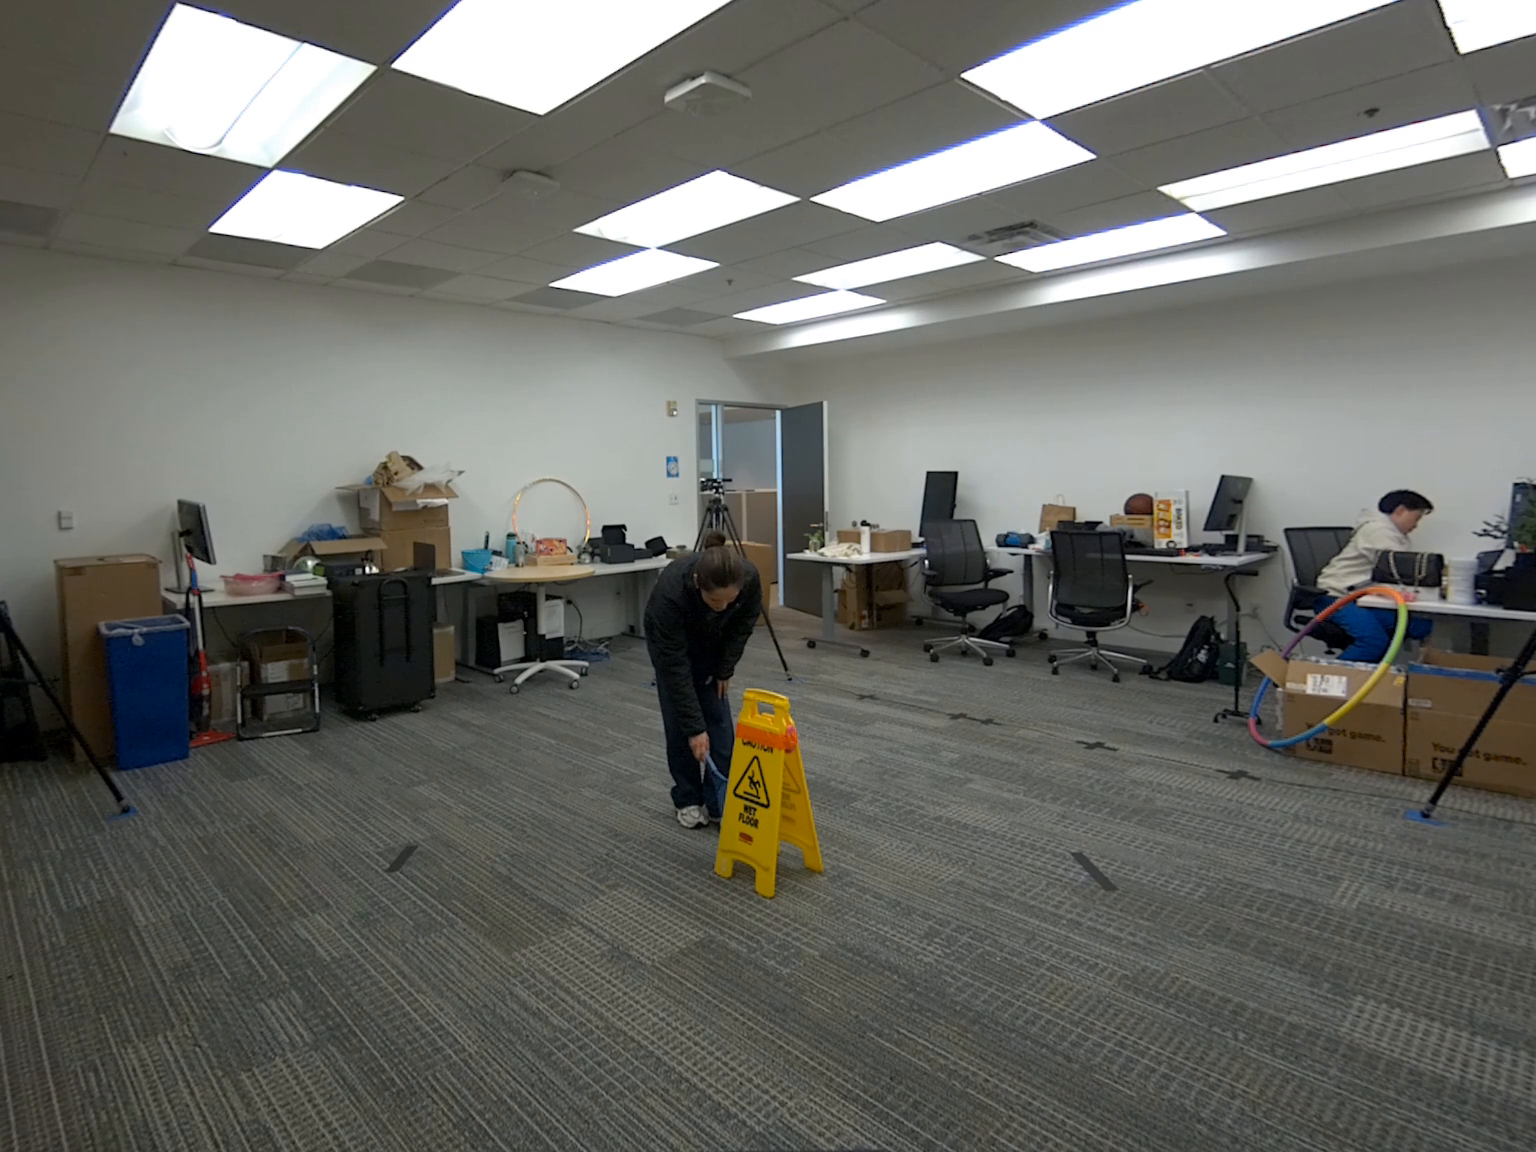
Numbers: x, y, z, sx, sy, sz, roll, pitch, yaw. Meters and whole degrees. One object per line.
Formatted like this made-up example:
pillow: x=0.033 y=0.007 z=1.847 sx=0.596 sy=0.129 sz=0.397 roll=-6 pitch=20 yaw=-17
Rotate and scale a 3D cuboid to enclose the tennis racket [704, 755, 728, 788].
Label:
tennis racket: x=-0.095 y=0.846 z=3.212 sx=0.031 sy=0.447 sz=0.211 roll=-11 pitch=-35 yaw=-35
